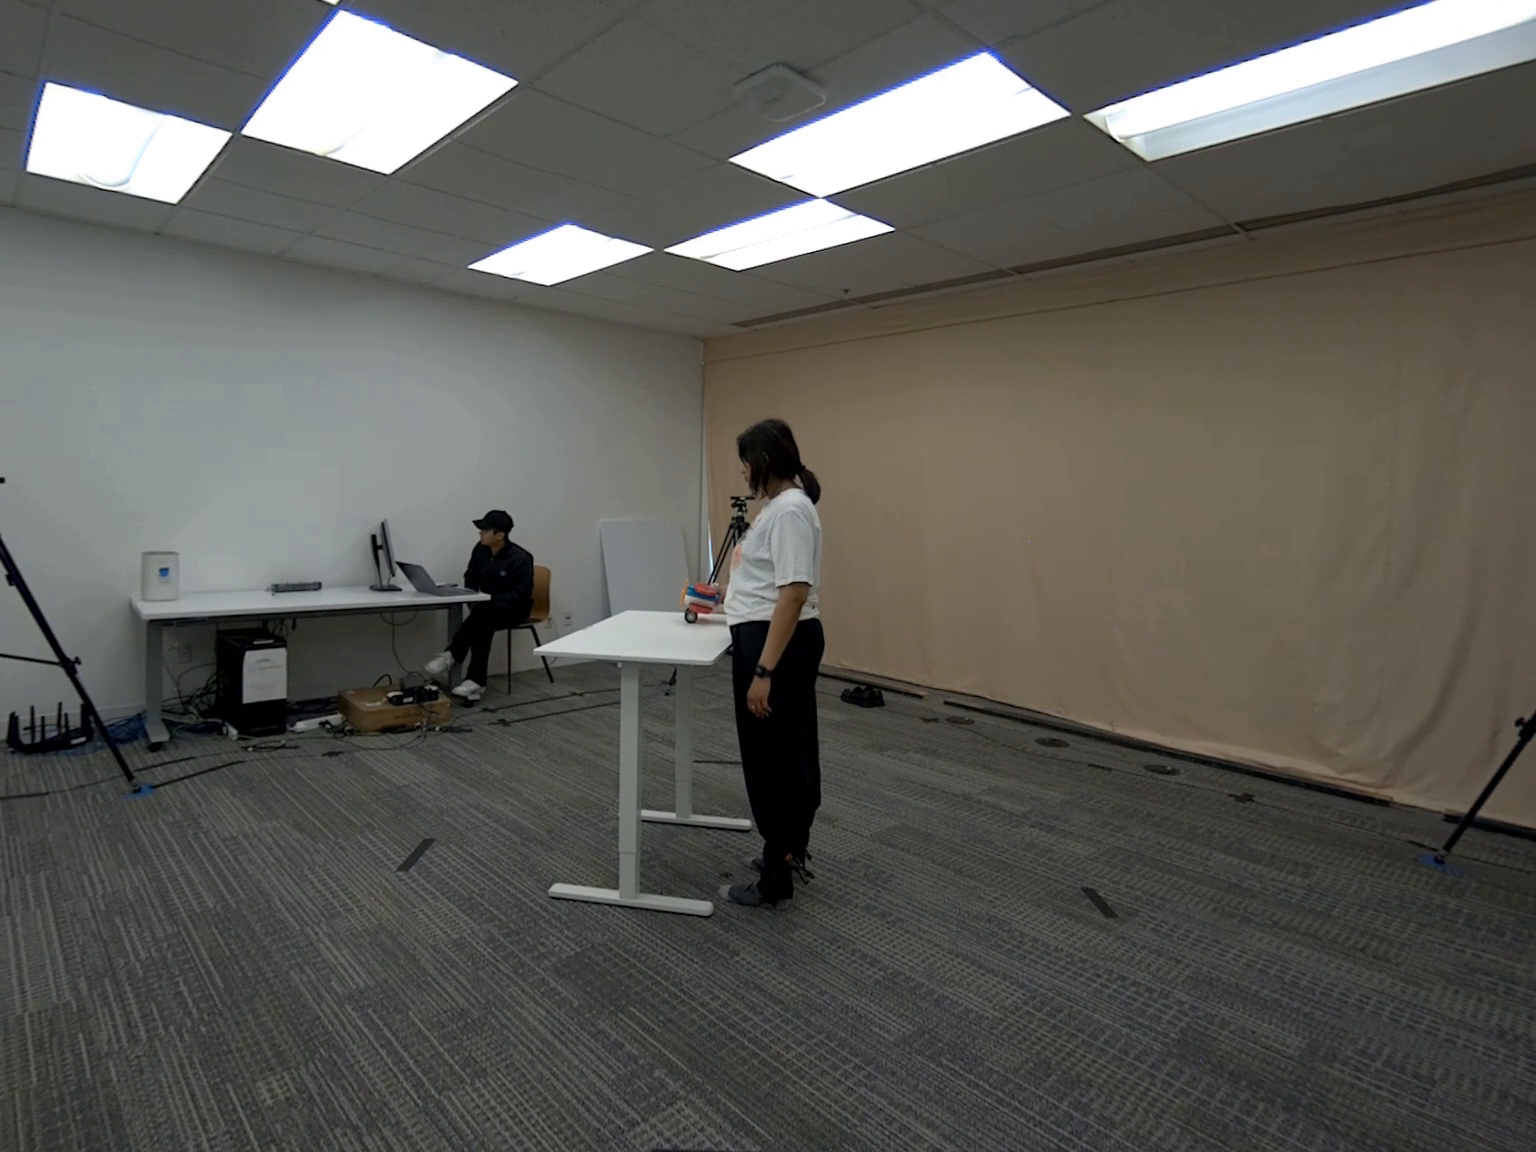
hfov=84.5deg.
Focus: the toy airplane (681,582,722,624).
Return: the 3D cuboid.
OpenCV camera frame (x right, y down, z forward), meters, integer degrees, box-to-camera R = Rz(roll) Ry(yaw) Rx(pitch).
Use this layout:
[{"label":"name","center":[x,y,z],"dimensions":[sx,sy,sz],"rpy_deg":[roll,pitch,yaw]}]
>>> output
[{"label":"toy airplane","center":[-0.239,0.110,3.449],"dimensions":[0.254,0.156,0.257],"rpy_deg":[-2,6,-30]}]
